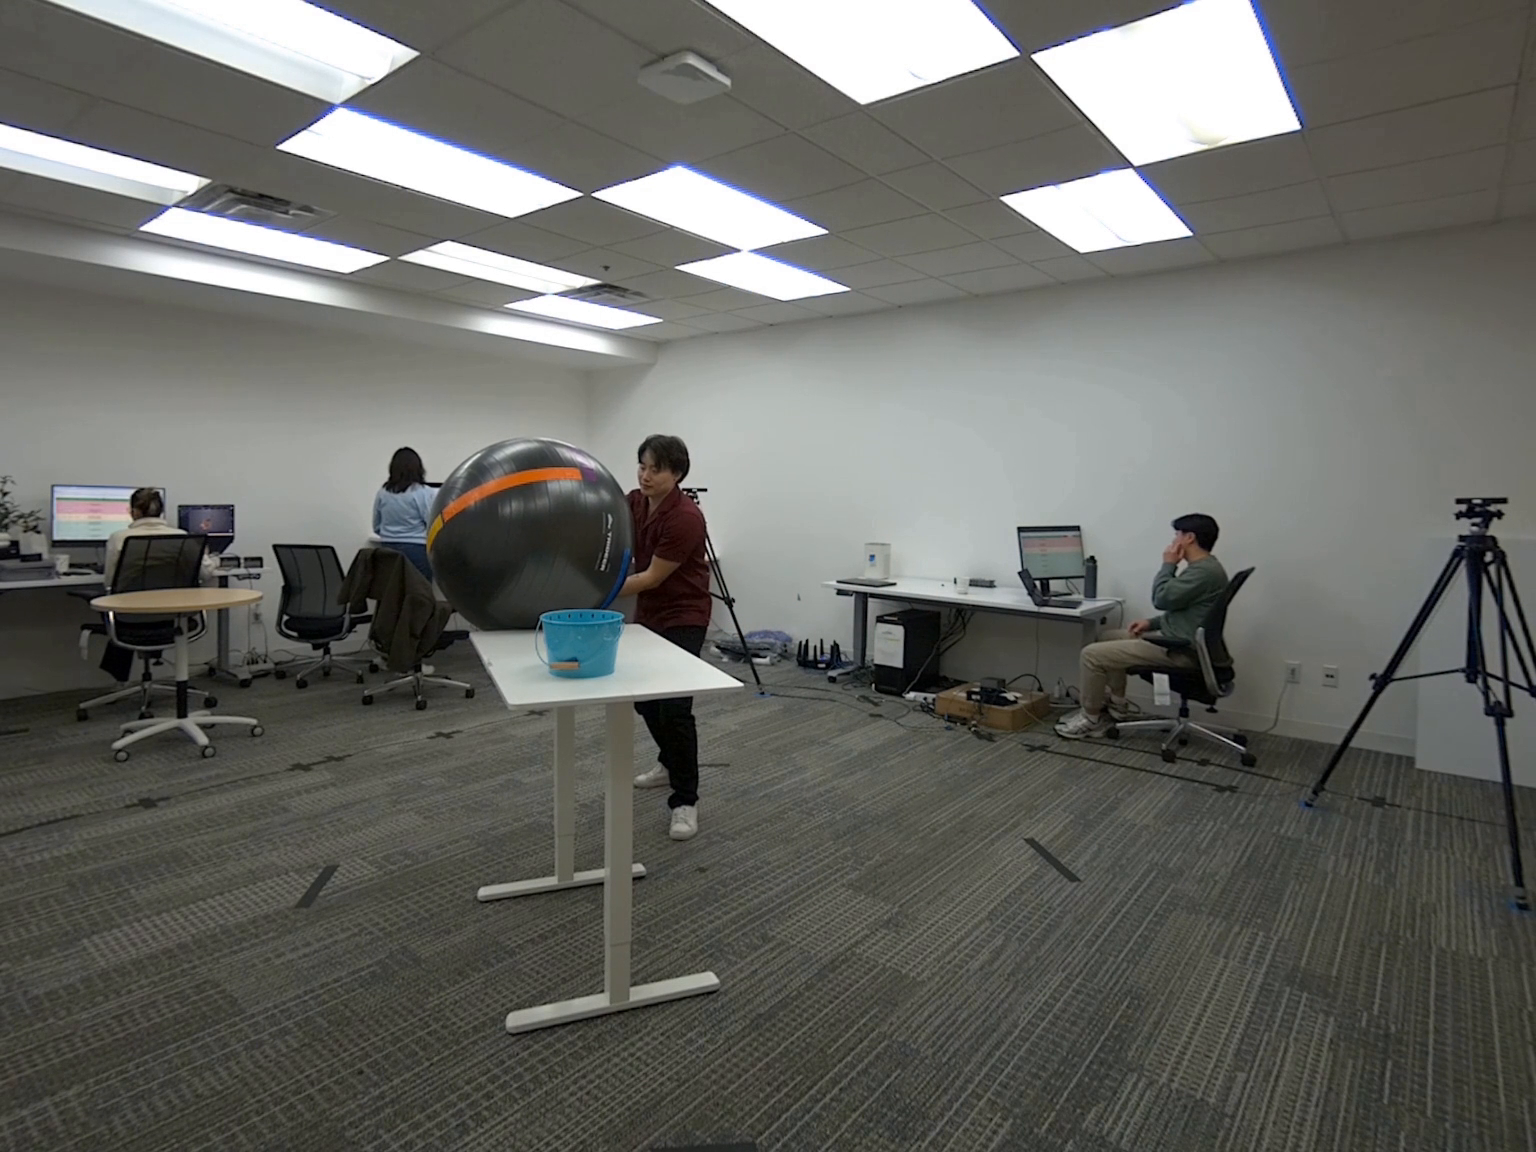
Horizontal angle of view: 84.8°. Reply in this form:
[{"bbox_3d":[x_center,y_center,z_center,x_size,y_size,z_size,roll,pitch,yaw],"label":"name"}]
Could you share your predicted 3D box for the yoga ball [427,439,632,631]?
[{"bbox_3d":[-0.898,-0.134,3.180,0.757,0.756,0.762,1,4,-2],"label":"yoga ball"}]
